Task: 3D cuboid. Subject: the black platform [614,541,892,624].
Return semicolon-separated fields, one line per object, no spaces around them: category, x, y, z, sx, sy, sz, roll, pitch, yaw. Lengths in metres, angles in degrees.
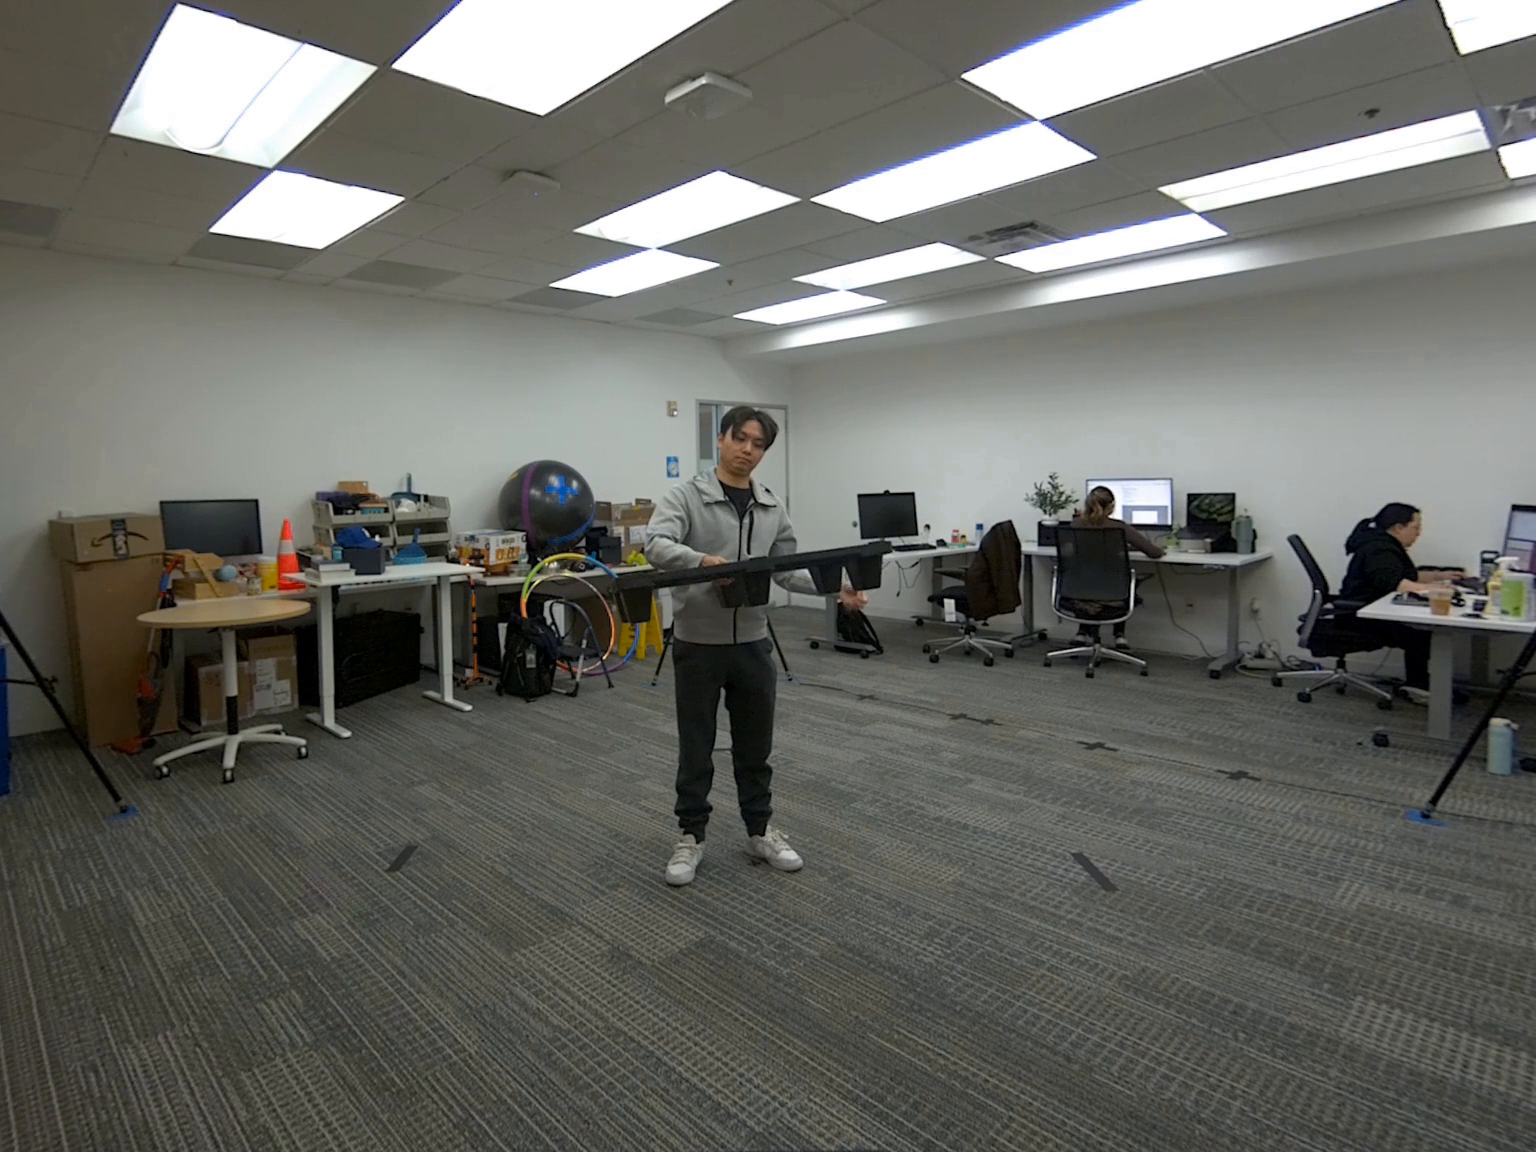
black platform;-0.074;0.026;2.657;0.799;0.144;0.608;-8;-1;-10
